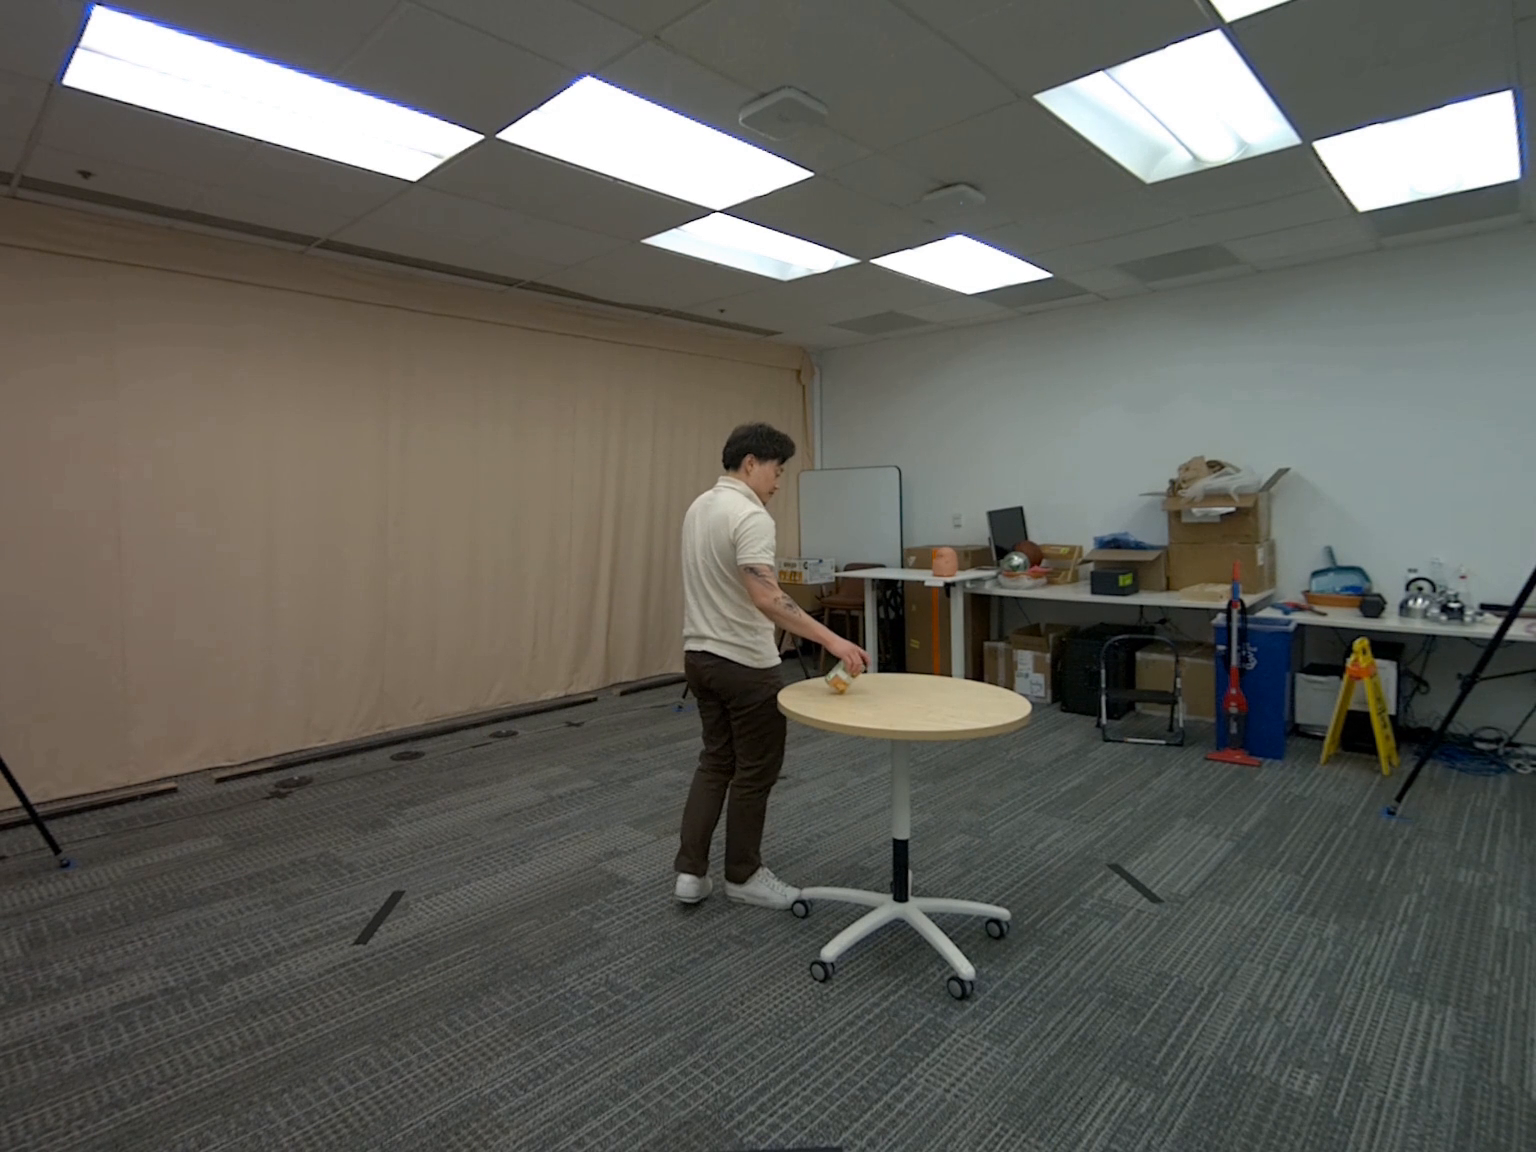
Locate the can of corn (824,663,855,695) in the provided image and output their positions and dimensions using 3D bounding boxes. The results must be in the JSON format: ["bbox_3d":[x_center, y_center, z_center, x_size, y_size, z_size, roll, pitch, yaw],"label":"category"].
[{"bbox_3d":[0.248,0.321,2.673,0.073,0.111,0.075,38,8,-9],"label":"can of corn"}]
